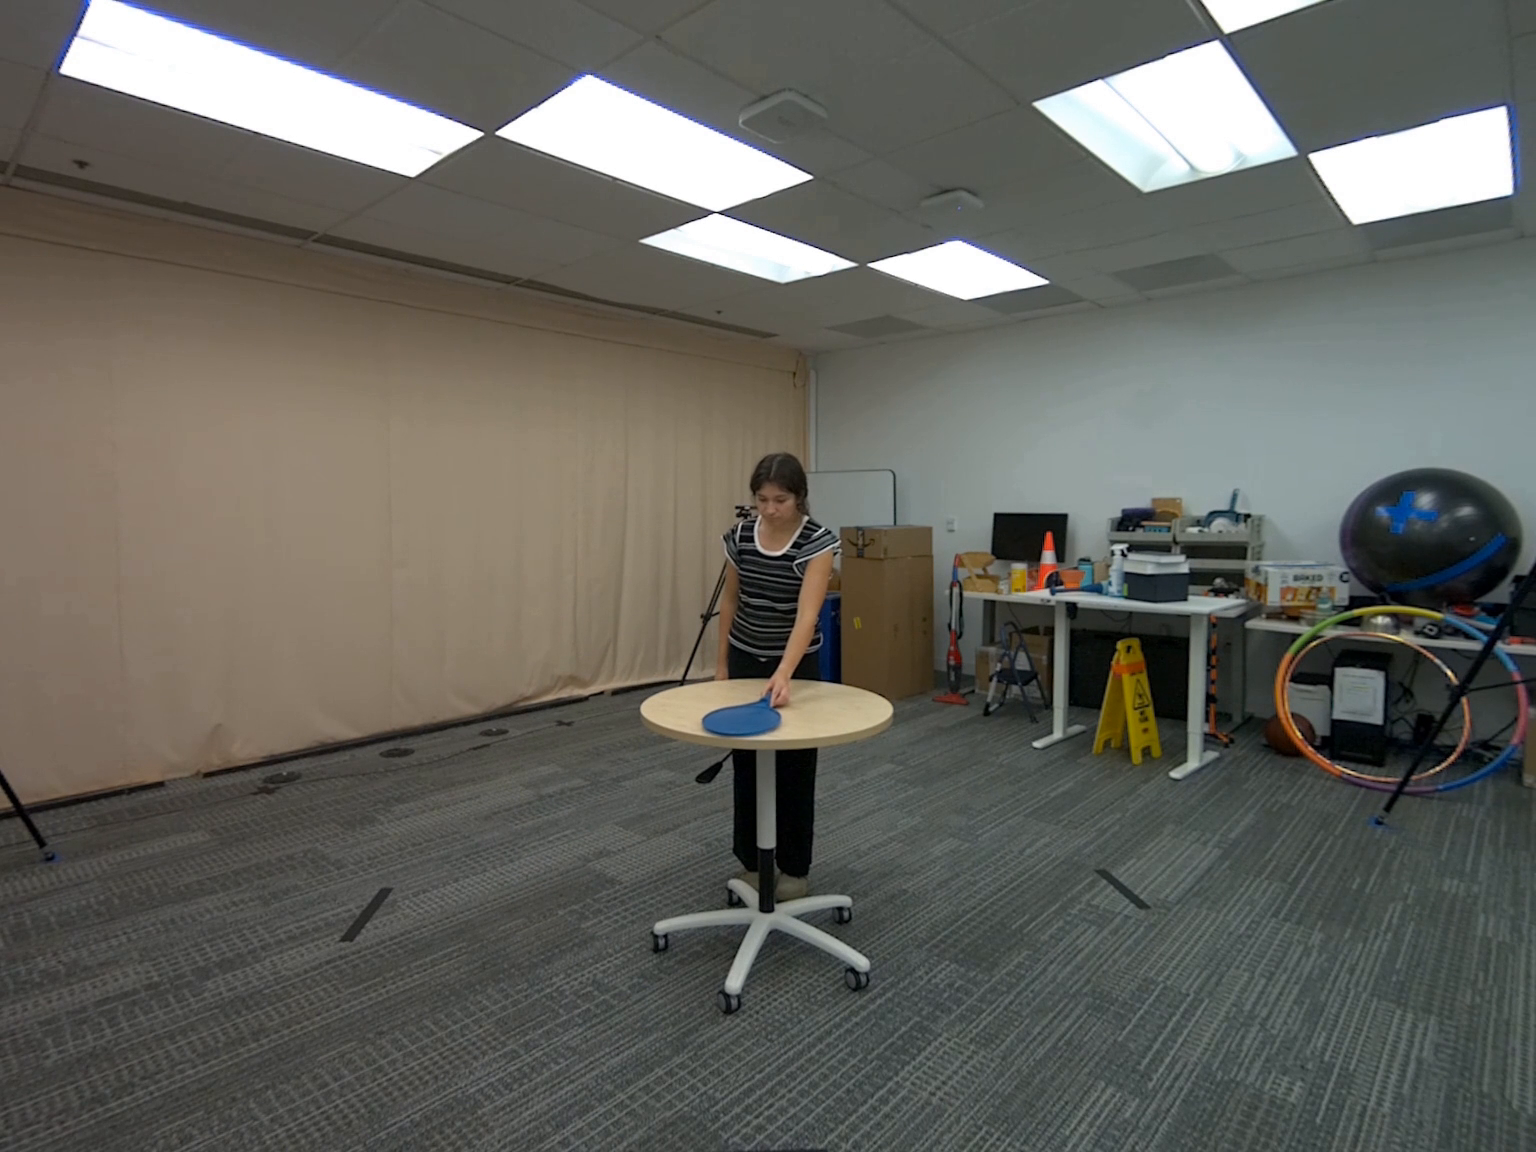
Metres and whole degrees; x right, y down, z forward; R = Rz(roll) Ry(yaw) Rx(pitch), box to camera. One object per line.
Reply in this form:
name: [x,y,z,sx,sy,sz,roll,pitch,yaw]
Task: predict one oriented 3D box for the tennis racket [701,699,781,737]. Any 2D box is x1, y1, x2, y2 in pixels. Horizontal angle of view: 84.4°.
tennis racket: [-0.038,0.392,2.414,0.218,0.031,0.426,4,8,17]
